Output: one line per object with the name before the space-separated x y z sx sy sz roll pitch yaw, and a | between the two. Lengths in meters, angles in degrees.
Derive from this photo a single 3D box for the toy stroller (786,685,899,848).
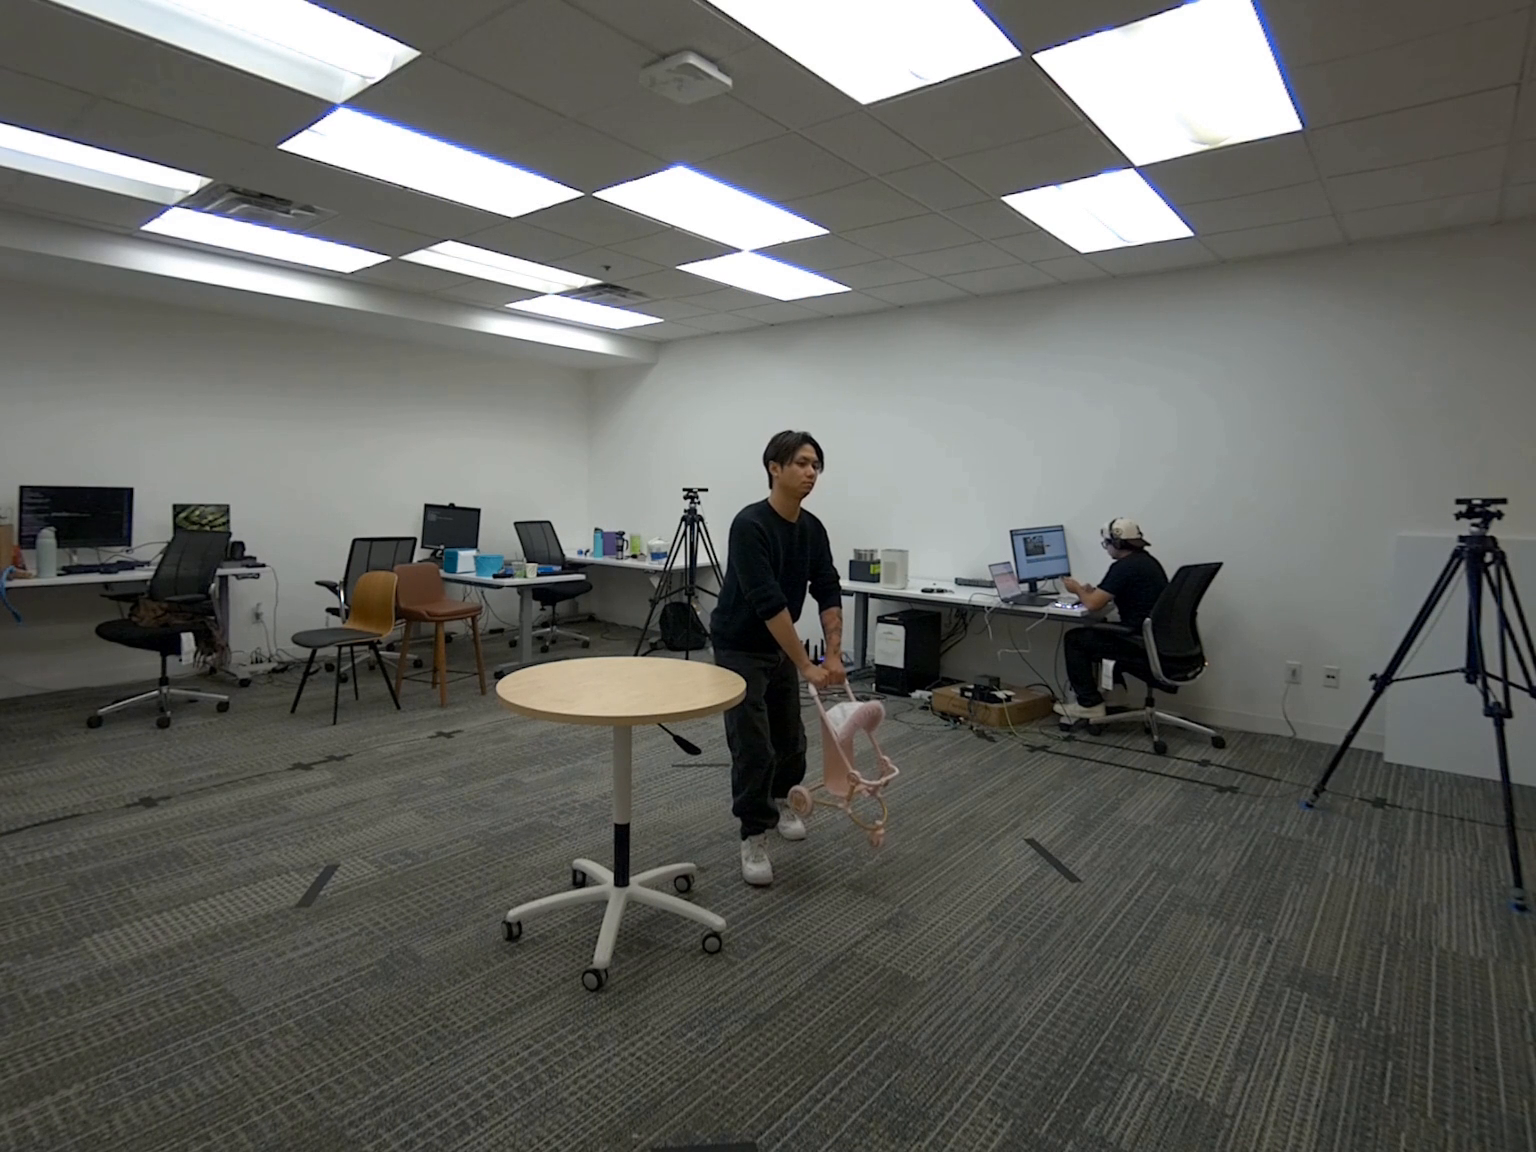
toy stroller | 0.278 0.642 2.948 0.273 0.531 0.354 -2 11 -45
